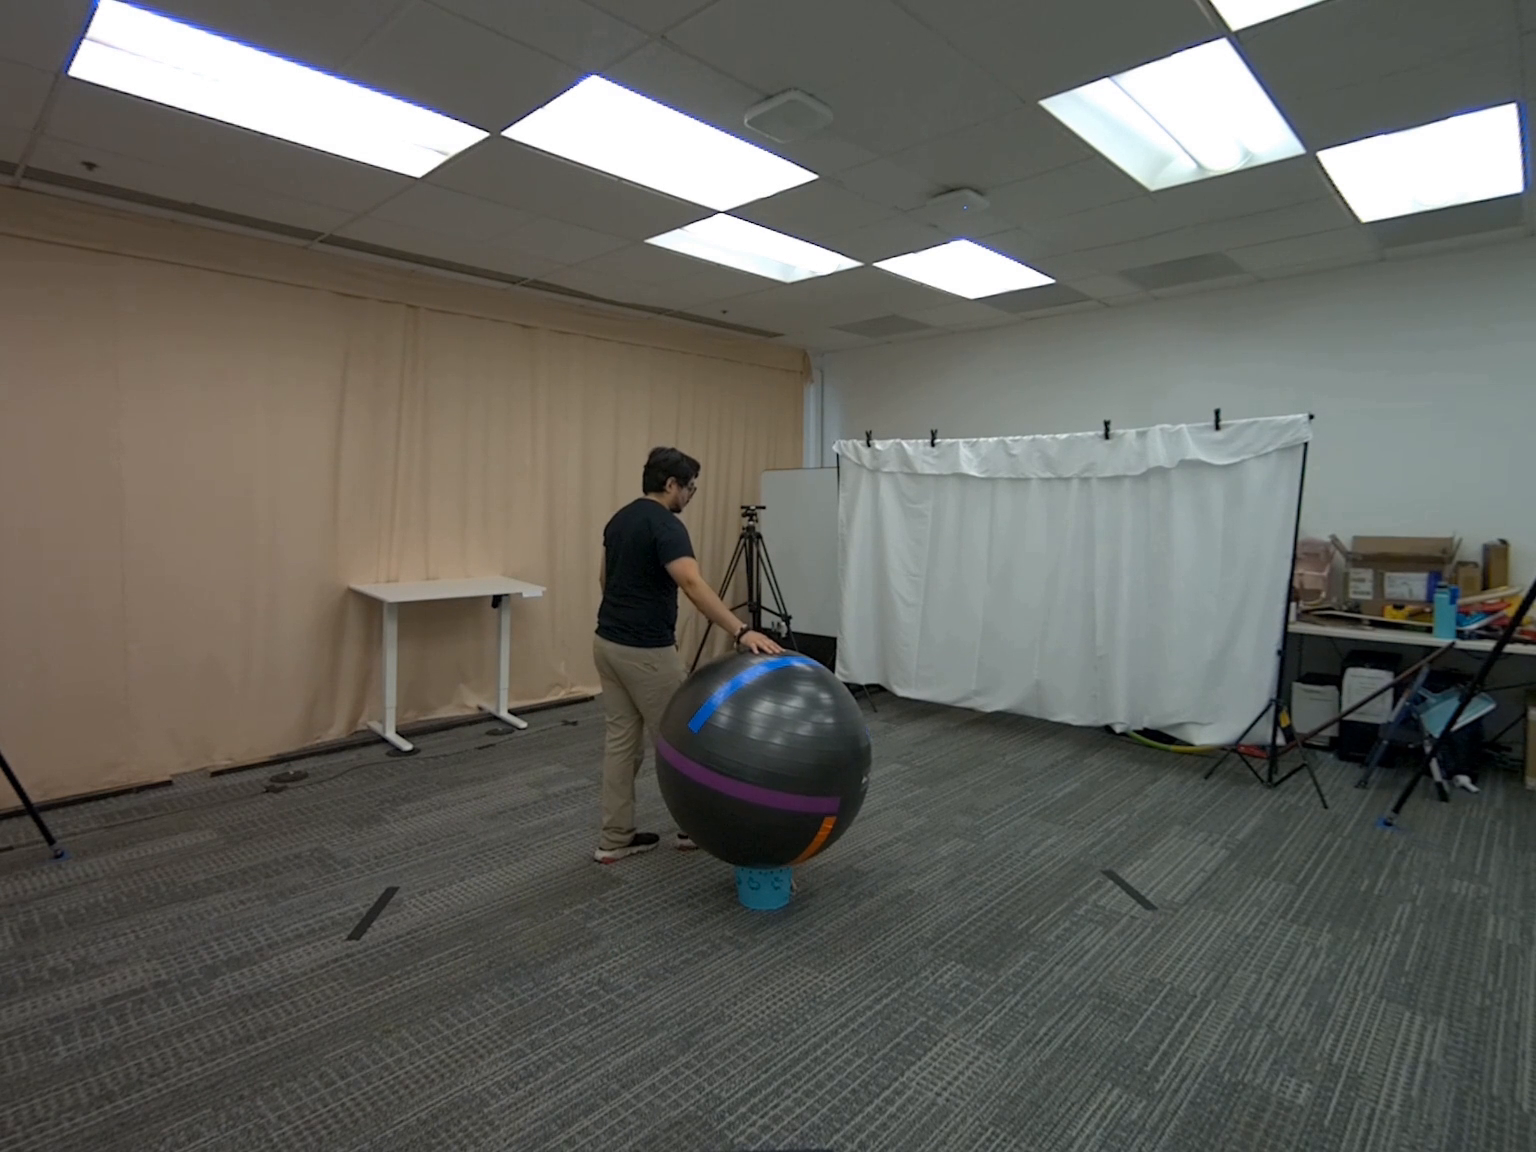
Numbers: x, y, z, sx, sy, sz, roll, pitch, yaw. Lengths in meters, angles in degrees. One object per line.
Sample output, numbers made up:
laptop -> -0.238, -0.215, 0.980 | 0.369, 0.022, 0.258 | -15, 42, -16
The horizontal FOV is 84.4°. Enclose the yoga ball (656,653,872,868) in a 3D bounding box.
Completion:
yoga ball -> -0.008, 0.636, 2.969 | 0.757, 0.756, 0.760 | 0, 4, -2
